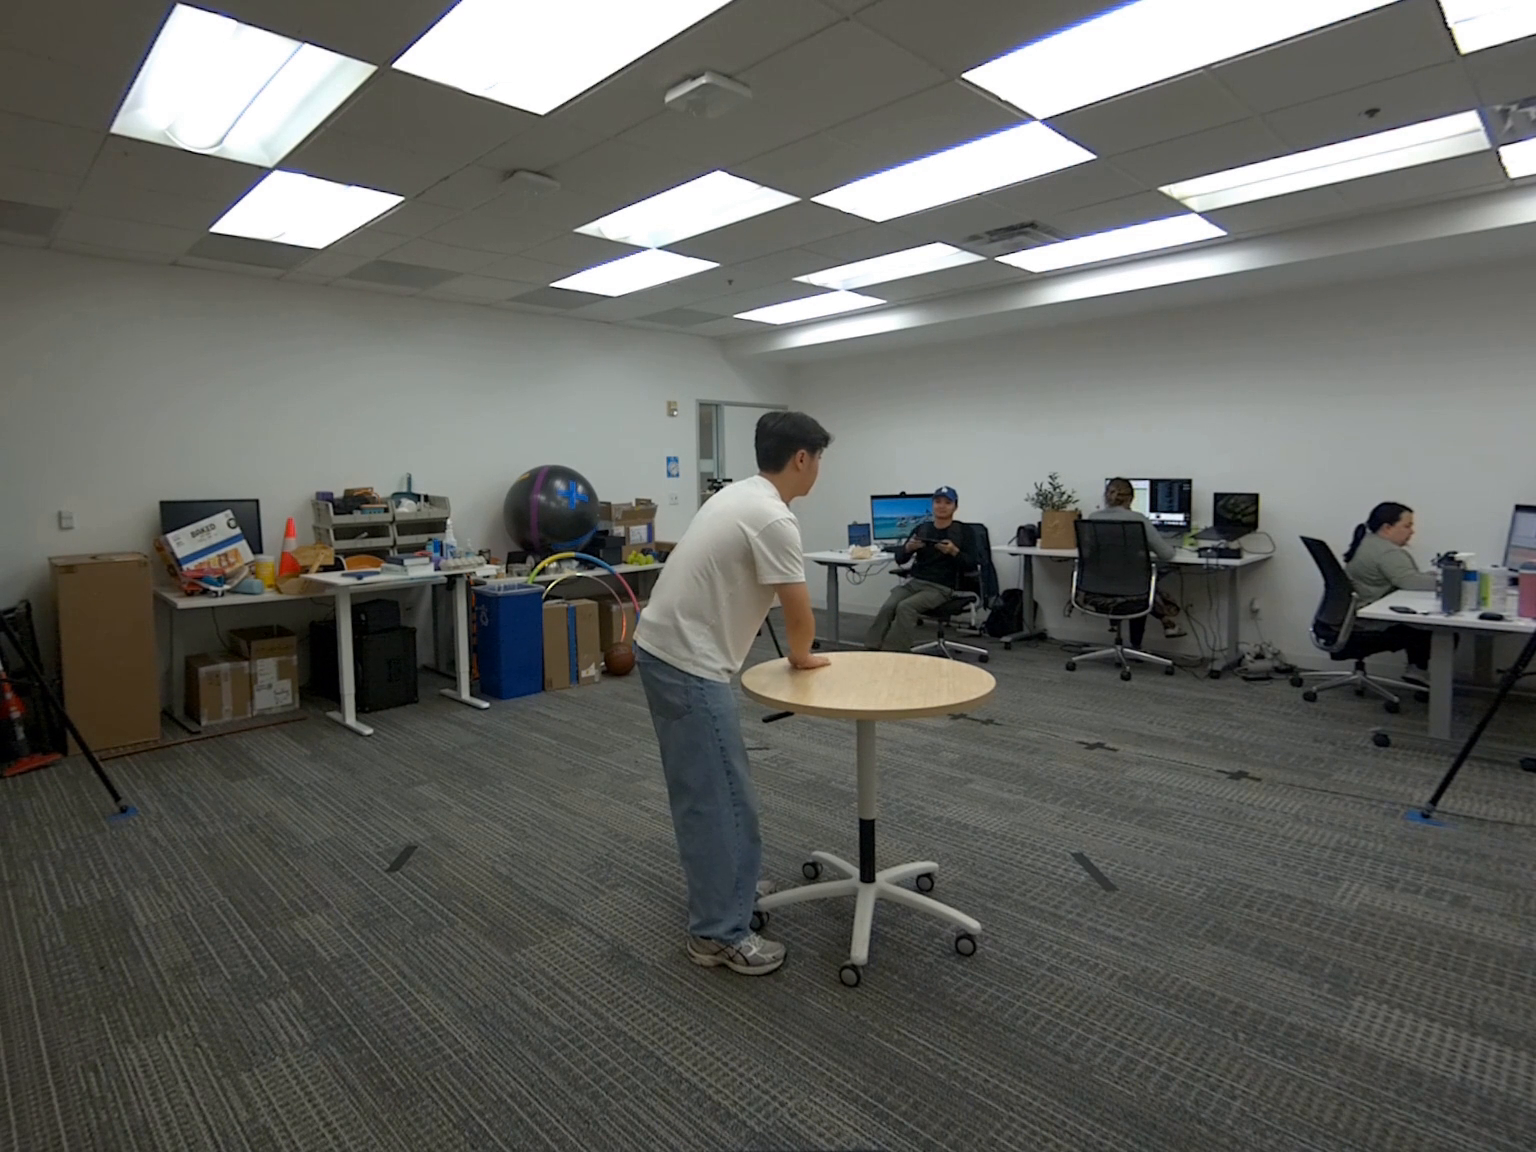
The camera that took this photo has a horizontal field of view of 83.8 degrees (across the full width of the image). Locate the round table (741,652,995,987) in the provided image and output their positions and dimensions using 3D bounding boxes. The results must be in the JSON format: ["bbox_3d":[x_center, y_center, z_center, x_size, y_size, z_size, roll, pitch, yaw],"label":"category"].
[{"bbox_3d":[0.309,0.697,2.660,0.763,0.791,0.768,-1,5,-2],"label":"round table"}]
